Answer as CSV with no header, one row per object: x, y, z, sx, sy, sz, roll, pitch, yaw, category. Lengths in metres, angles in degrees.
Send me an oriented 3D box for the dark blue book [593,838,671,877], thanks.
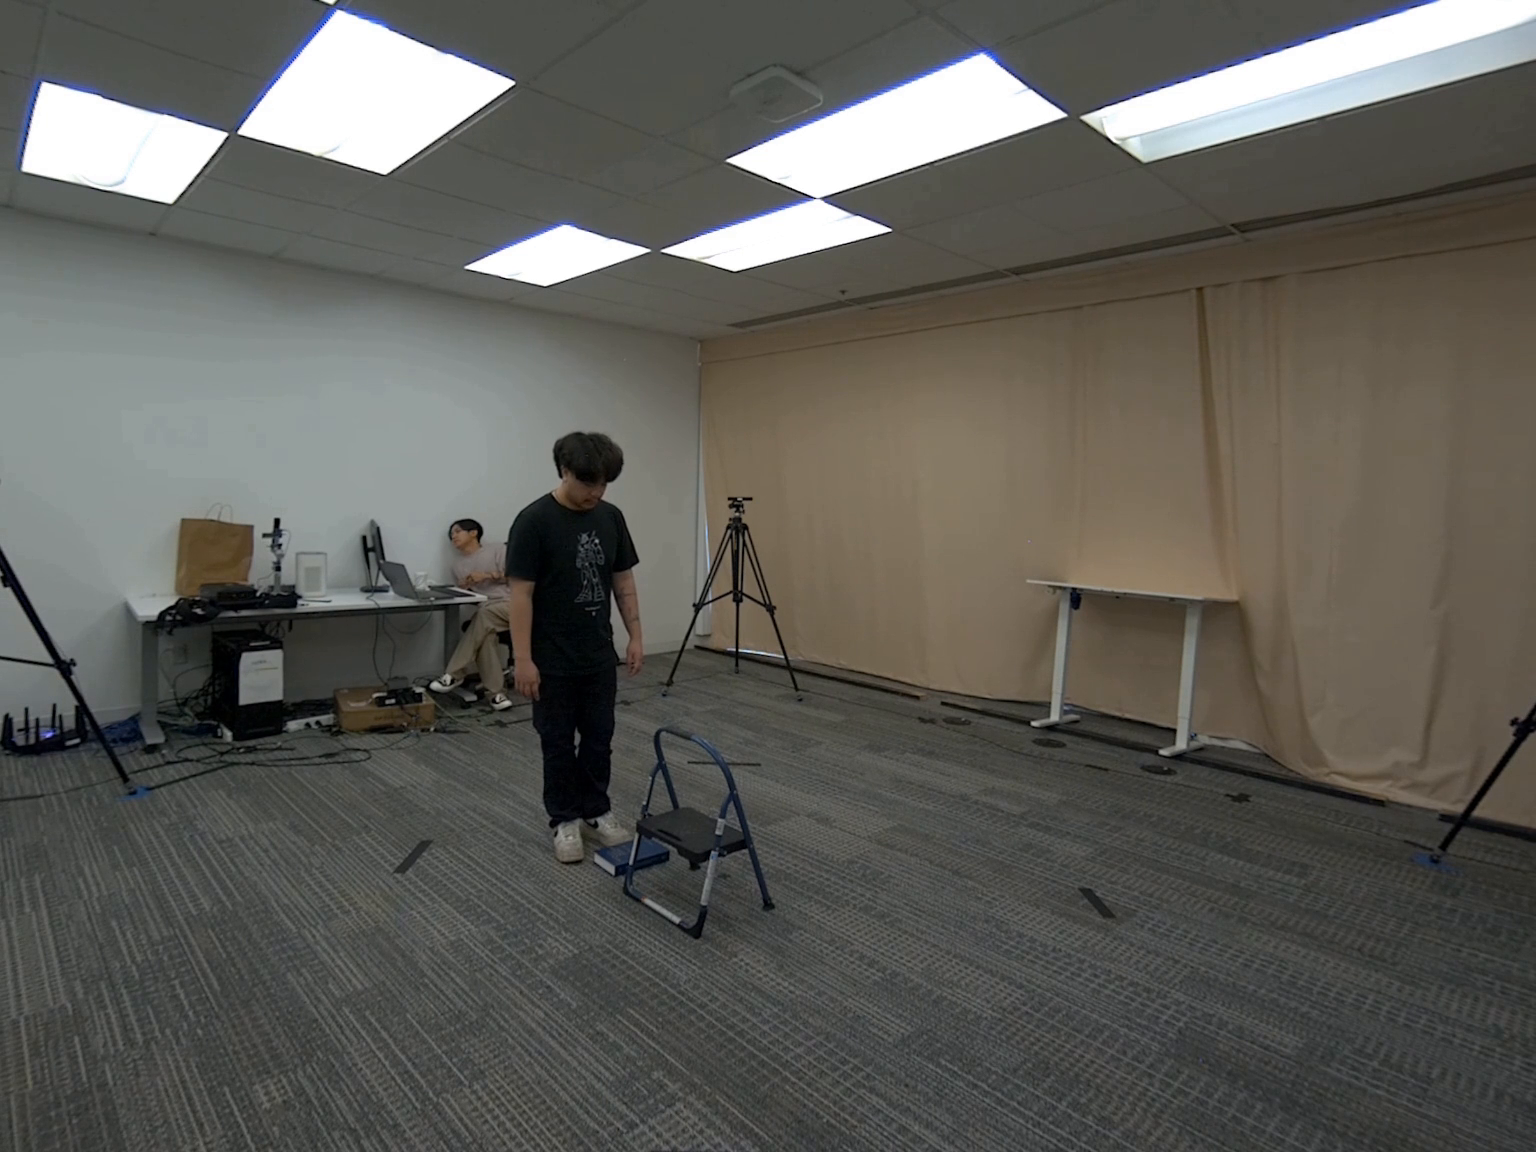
-0.531,1.073,3.208,0.239,0.045,0.167,-3,7,-40,dark blue book
